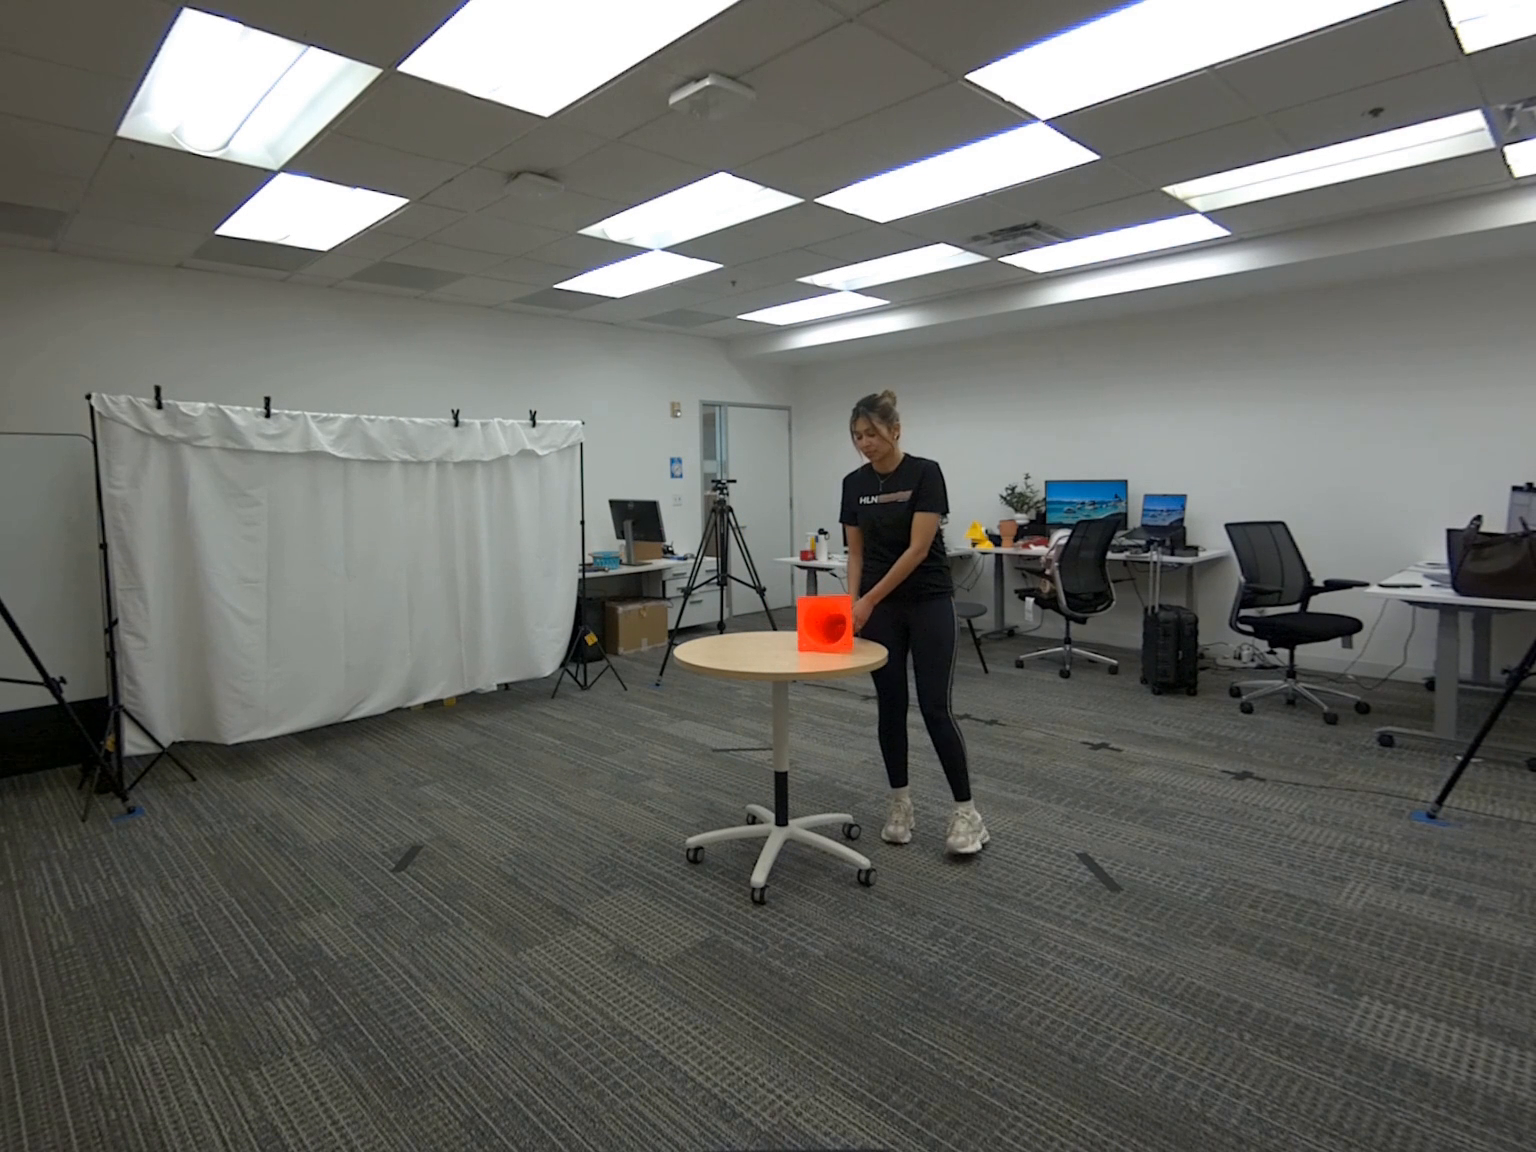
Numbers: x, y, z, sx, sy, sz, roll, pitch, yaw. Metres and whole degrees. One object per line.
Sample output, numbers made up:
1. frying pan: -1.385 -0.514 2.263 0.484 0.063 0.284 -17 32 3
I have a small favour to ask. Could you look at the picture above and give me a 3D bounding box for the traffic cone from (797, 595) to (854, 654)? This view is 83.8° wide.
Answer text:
1. traffic cone: 0.257 0.195 3.190 0.208 0.205 0.374 -6 -10 15
